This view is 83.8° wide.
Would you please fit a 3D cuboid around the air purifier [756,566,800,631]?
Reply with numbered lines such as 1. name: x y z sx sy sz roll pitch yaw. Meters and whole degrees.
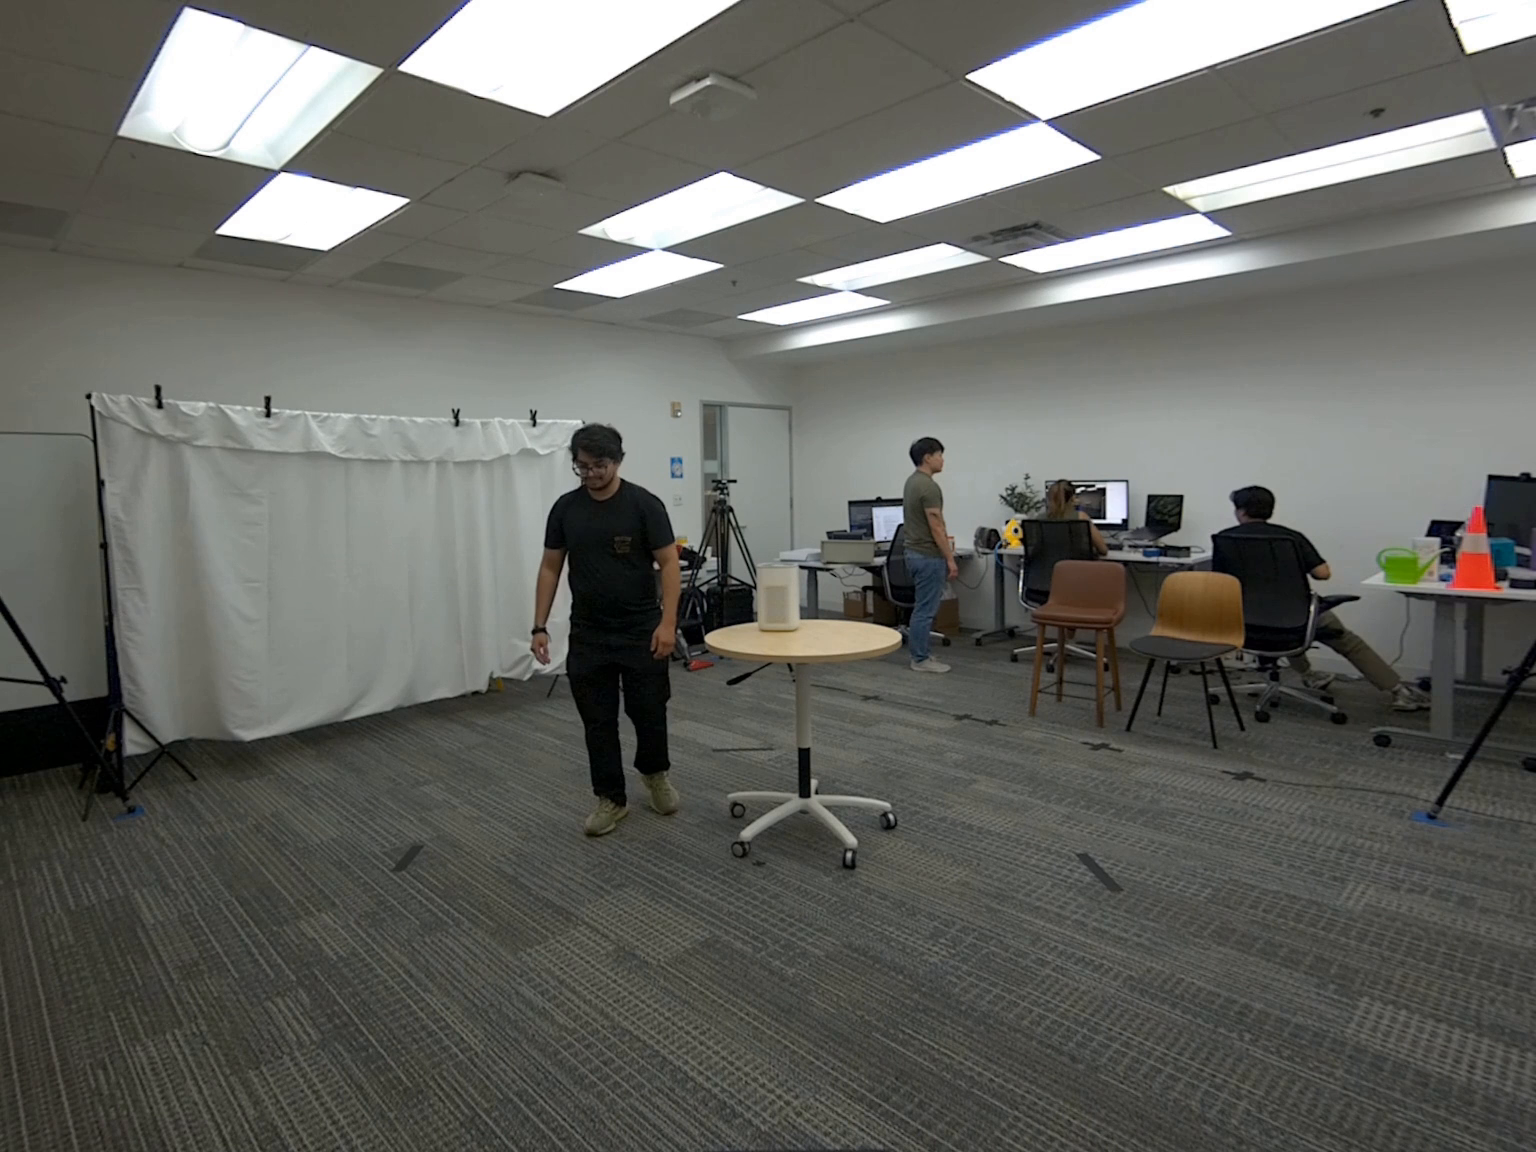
1. air purifier: 0.040 0.083 3.508 0.173 0.265 0.170 0 3 8
